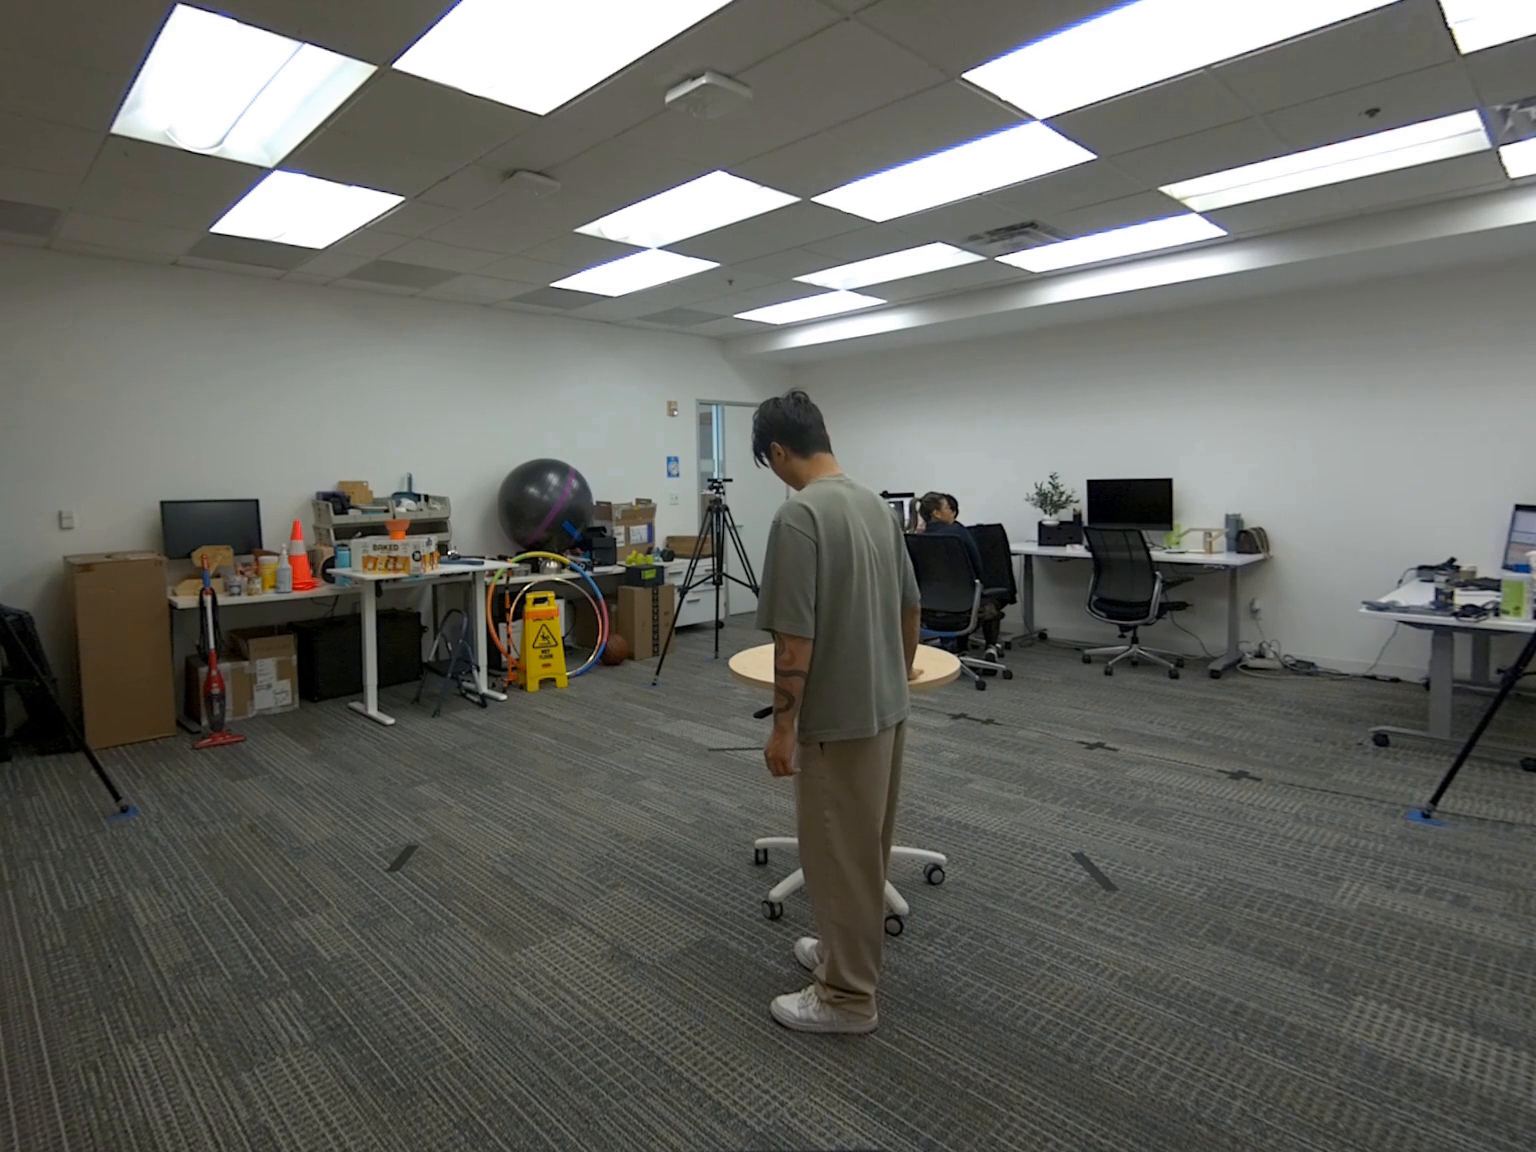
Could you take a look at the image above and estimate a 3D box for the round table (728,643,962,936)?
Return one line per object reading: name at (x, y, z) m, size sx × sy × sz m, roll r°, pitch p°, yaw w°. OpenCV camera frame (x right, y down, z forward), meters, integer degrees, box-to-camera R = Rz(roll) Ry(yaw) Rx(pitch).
round table at (0.268, 0.679, 2.895) m, size 0.763 × 0.791 × 0.768 m, roll -1°, pitch 5°, yaw -2°
